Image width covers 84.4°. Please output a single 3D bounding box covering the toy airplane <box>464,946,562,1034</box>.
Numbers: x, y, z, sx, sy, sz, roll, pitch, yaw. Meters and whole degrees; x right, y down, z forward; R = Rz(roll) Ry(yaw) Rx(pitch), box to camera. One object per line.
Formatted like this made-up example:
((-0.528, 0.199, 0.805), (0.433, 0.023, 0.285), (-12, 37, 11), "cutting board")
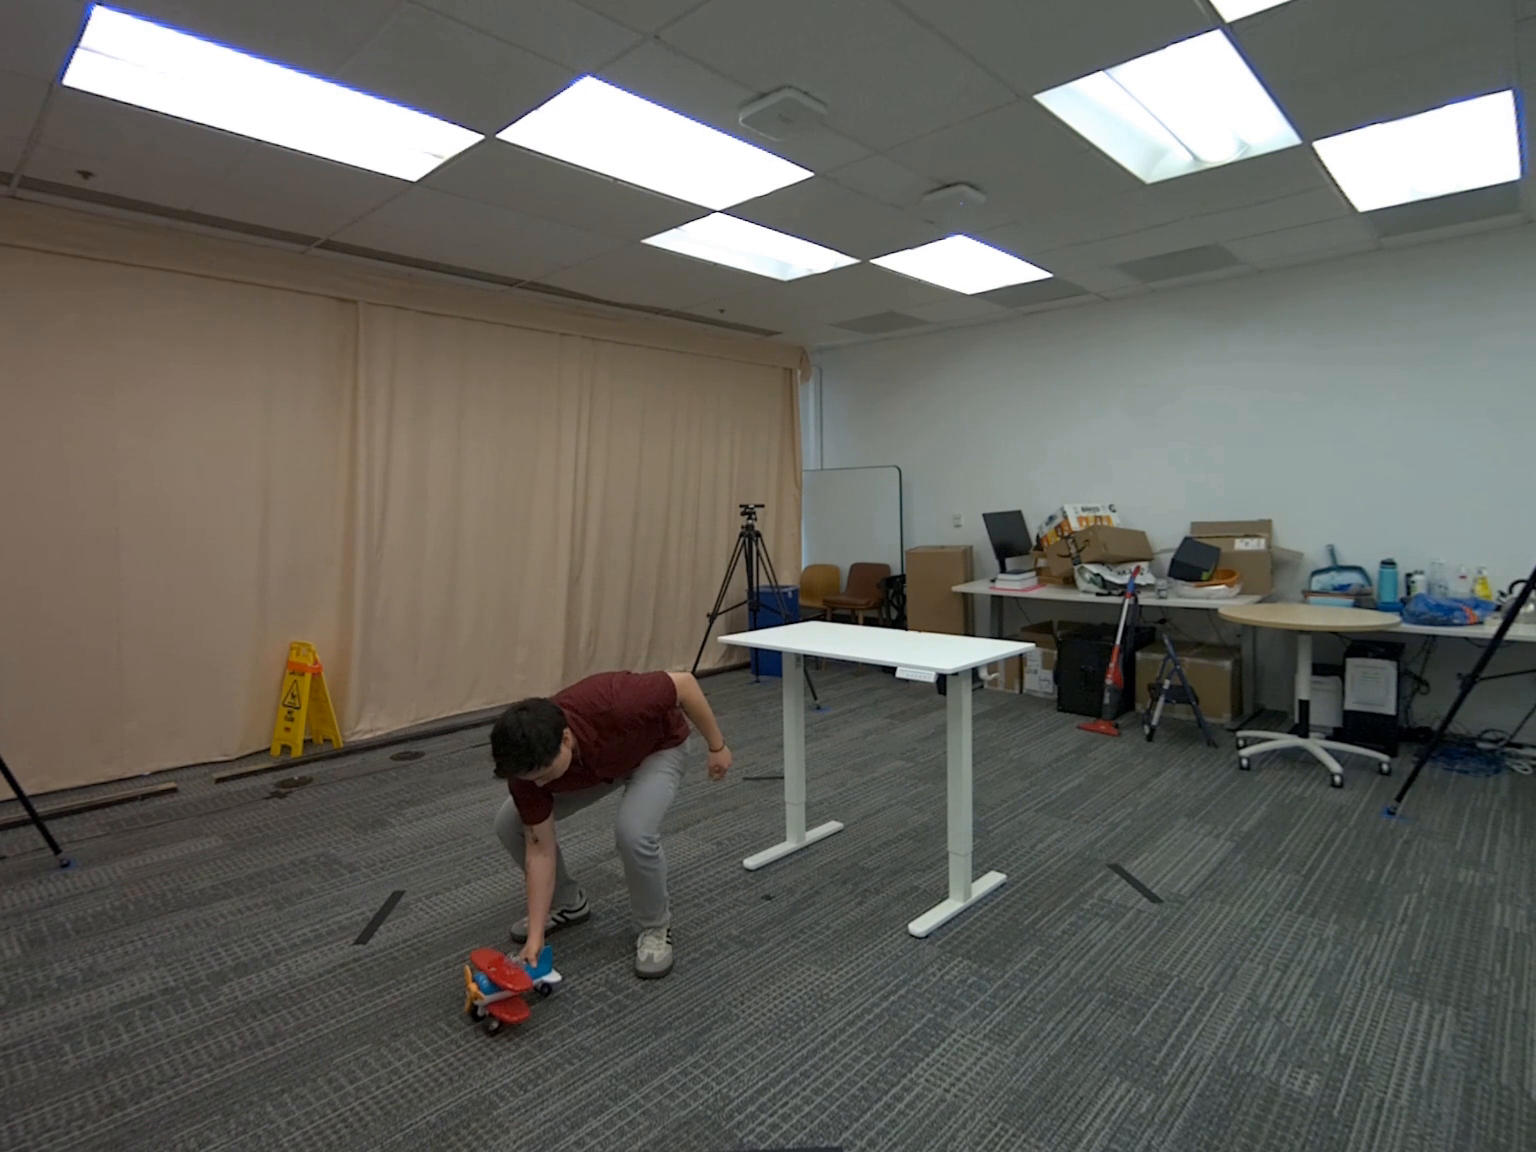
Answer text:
((-0.723, 1.123, 2.324), (0.255, 0.155, 0.256), (-2, 10, 16), "toy airplane")
